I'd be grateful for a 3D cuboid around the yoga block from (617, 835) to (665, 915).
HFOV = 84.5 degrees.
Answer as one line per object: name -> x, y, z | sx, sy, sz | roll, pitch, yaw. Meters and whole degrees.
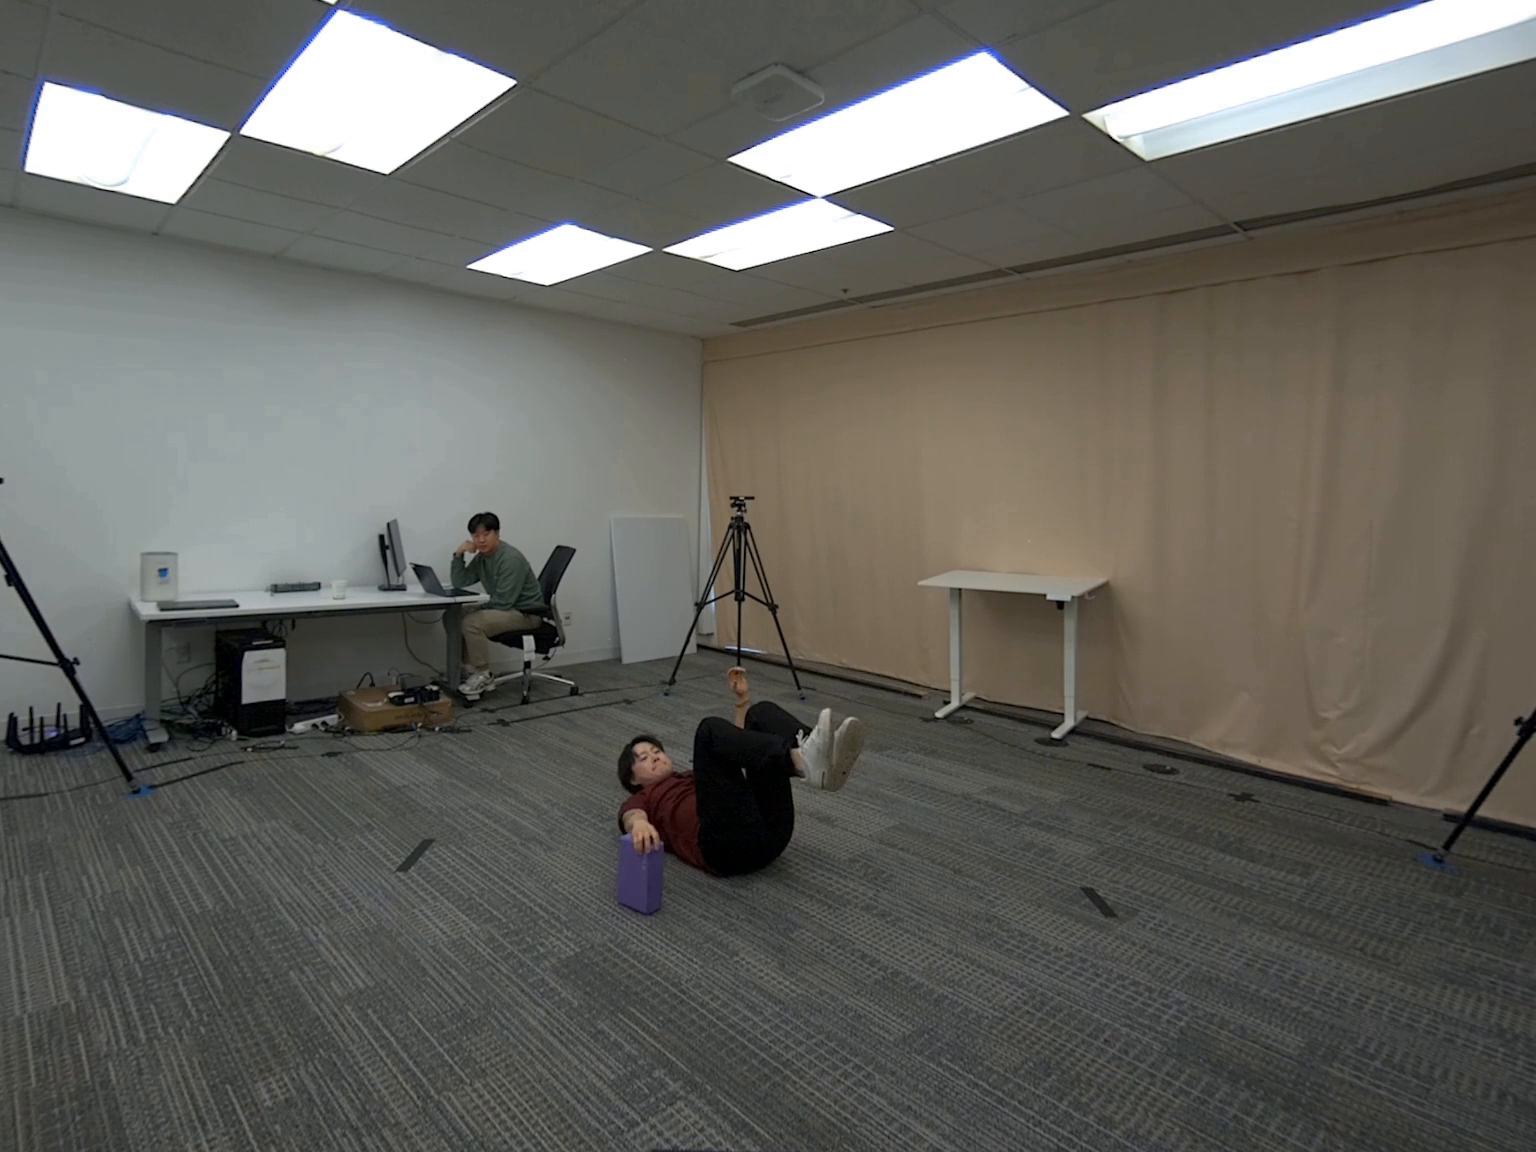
yoga block -> -0.442, 0.997, 2.846 | 0.153, 0.229, 0.075 | 5, 3, 37
